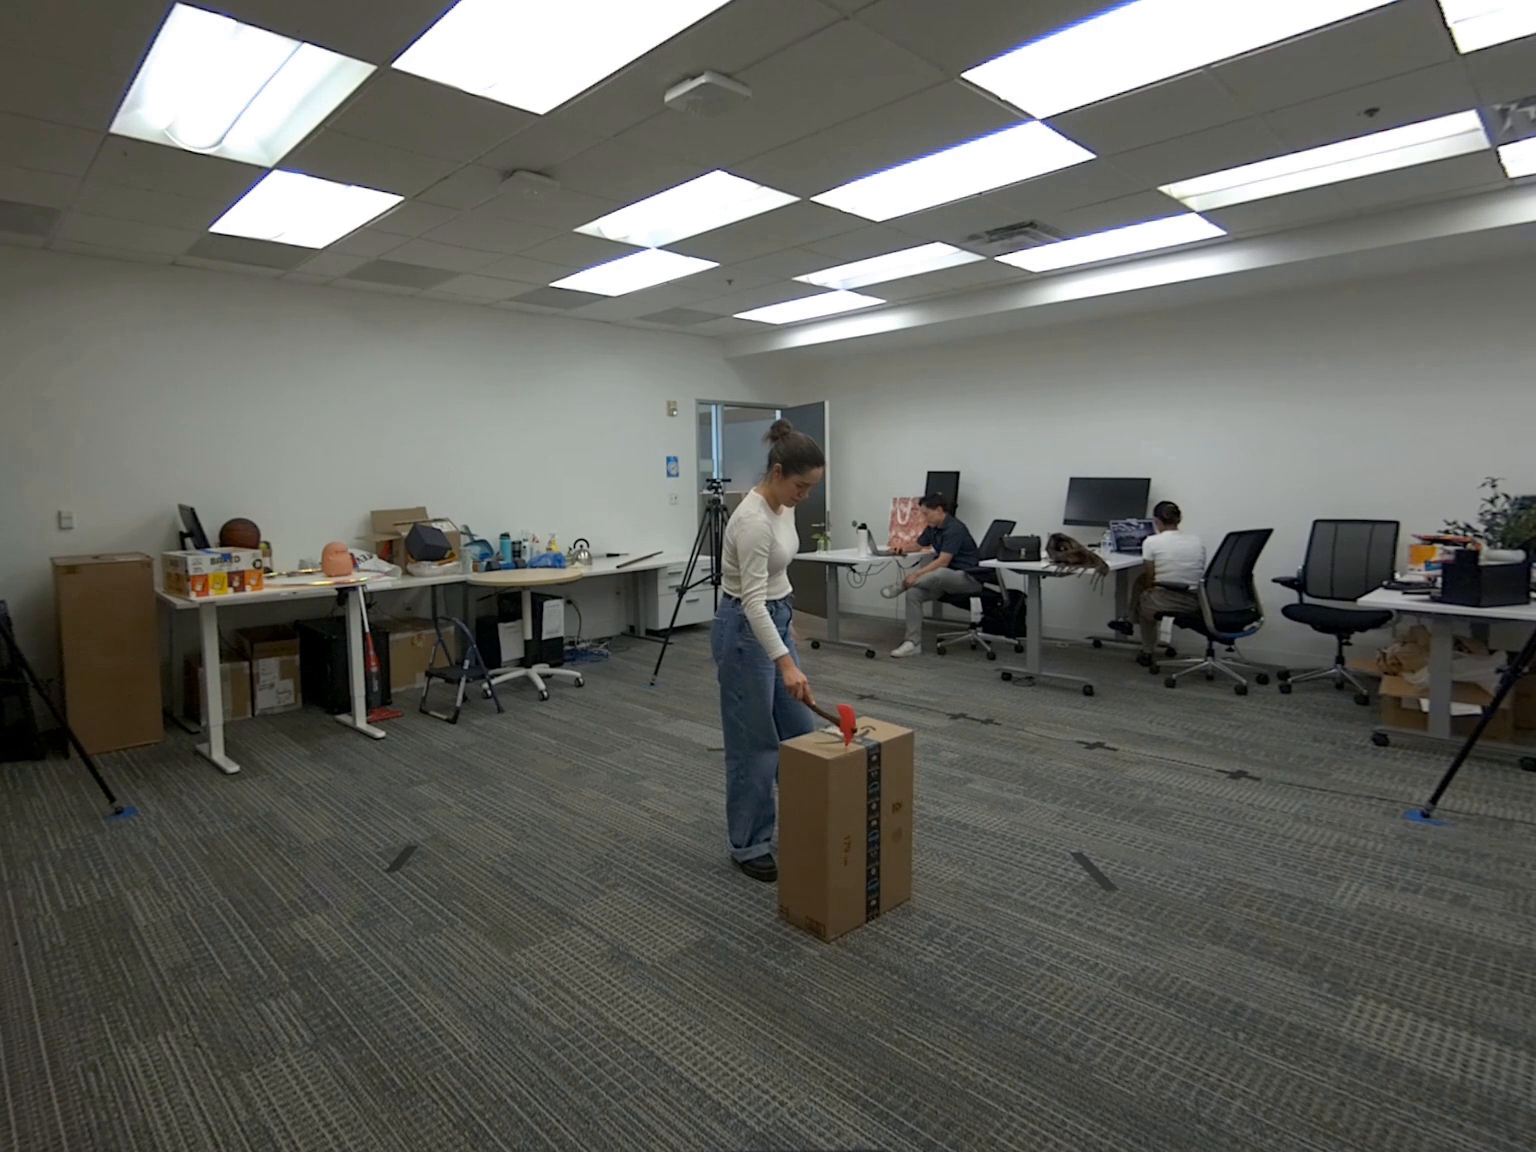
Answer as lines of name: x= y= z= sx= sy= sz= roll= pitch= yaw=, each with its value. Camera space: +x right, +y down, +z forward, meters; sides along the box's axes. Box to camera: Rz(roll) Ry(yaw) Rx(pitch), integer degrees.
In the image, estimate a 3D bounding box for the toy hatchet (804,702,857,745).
toy hatchet: x=0.172 y=0.395 z=2.692 sx=0.029 sy=0.129 sz=0.280 roll=-11 pitch=41 yaw=-41
